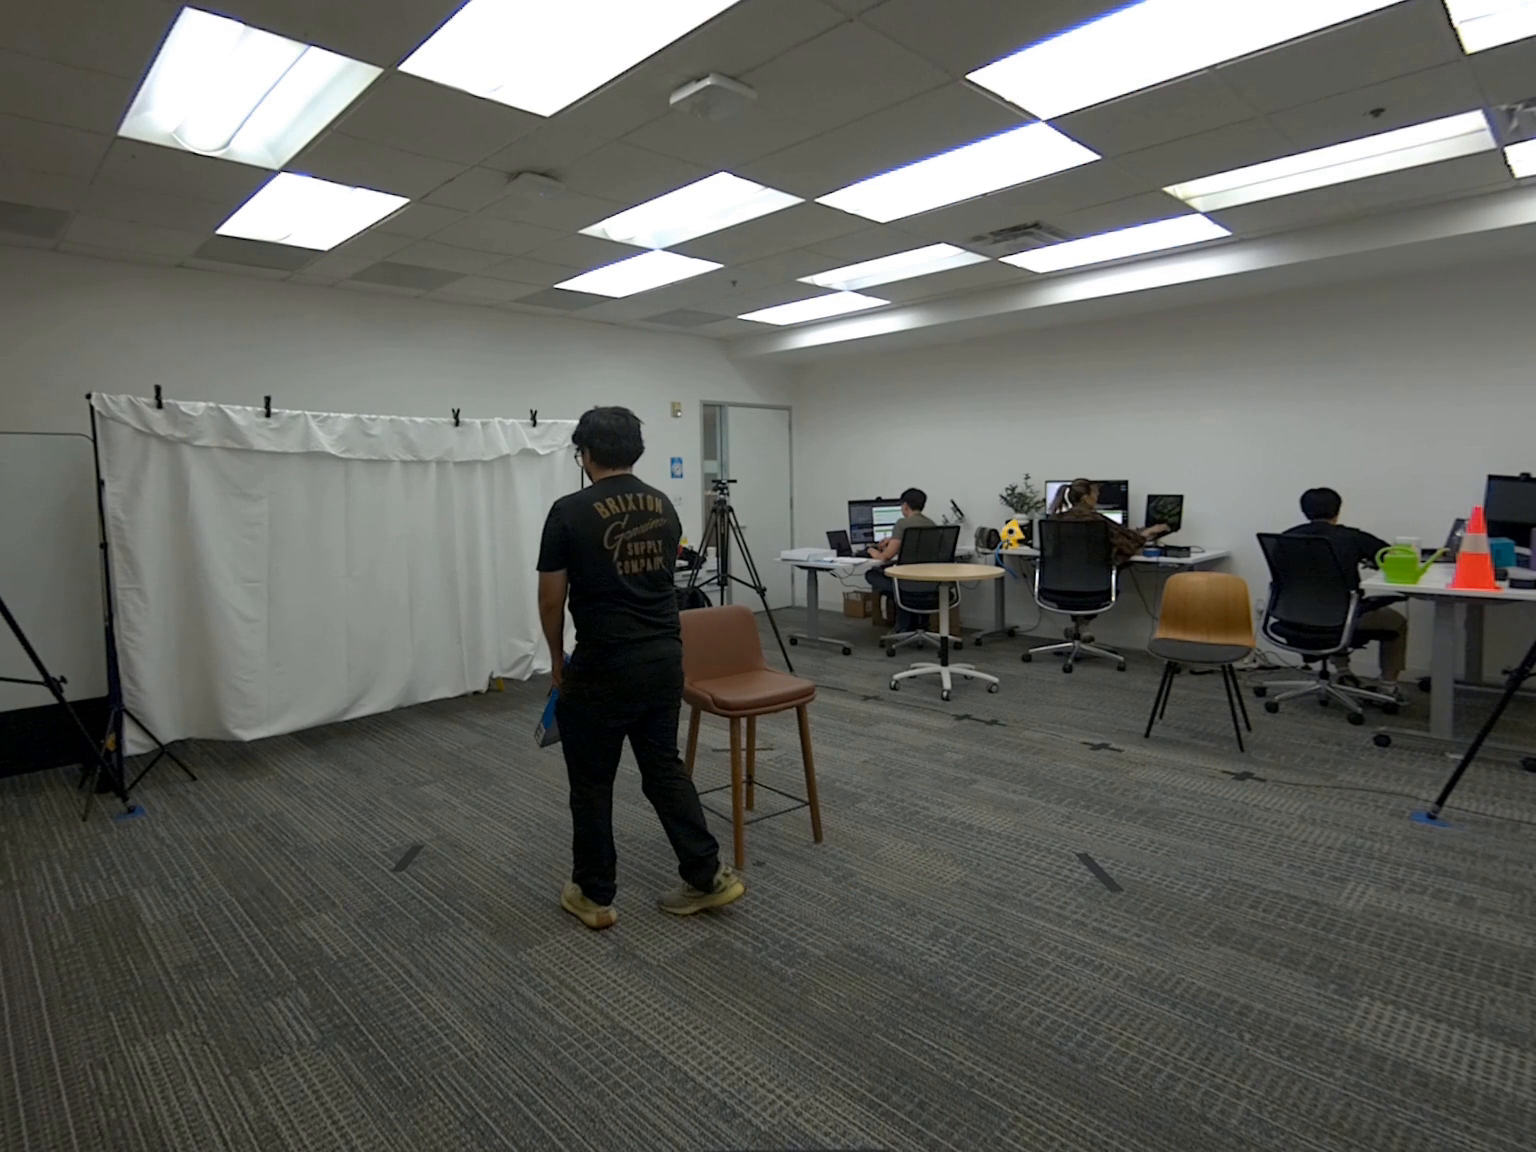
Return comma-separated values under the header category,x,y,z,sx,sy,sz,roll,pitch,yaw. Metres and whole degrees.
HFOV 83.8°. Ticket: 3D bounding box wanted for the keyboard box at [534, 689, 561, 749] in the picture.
category,x,y,z,sx,sy,sz,roll,pitch,yaw
keyboard box,-0.680,0.434,2.997,0.172,0.432,0.061,-14,53,-43
